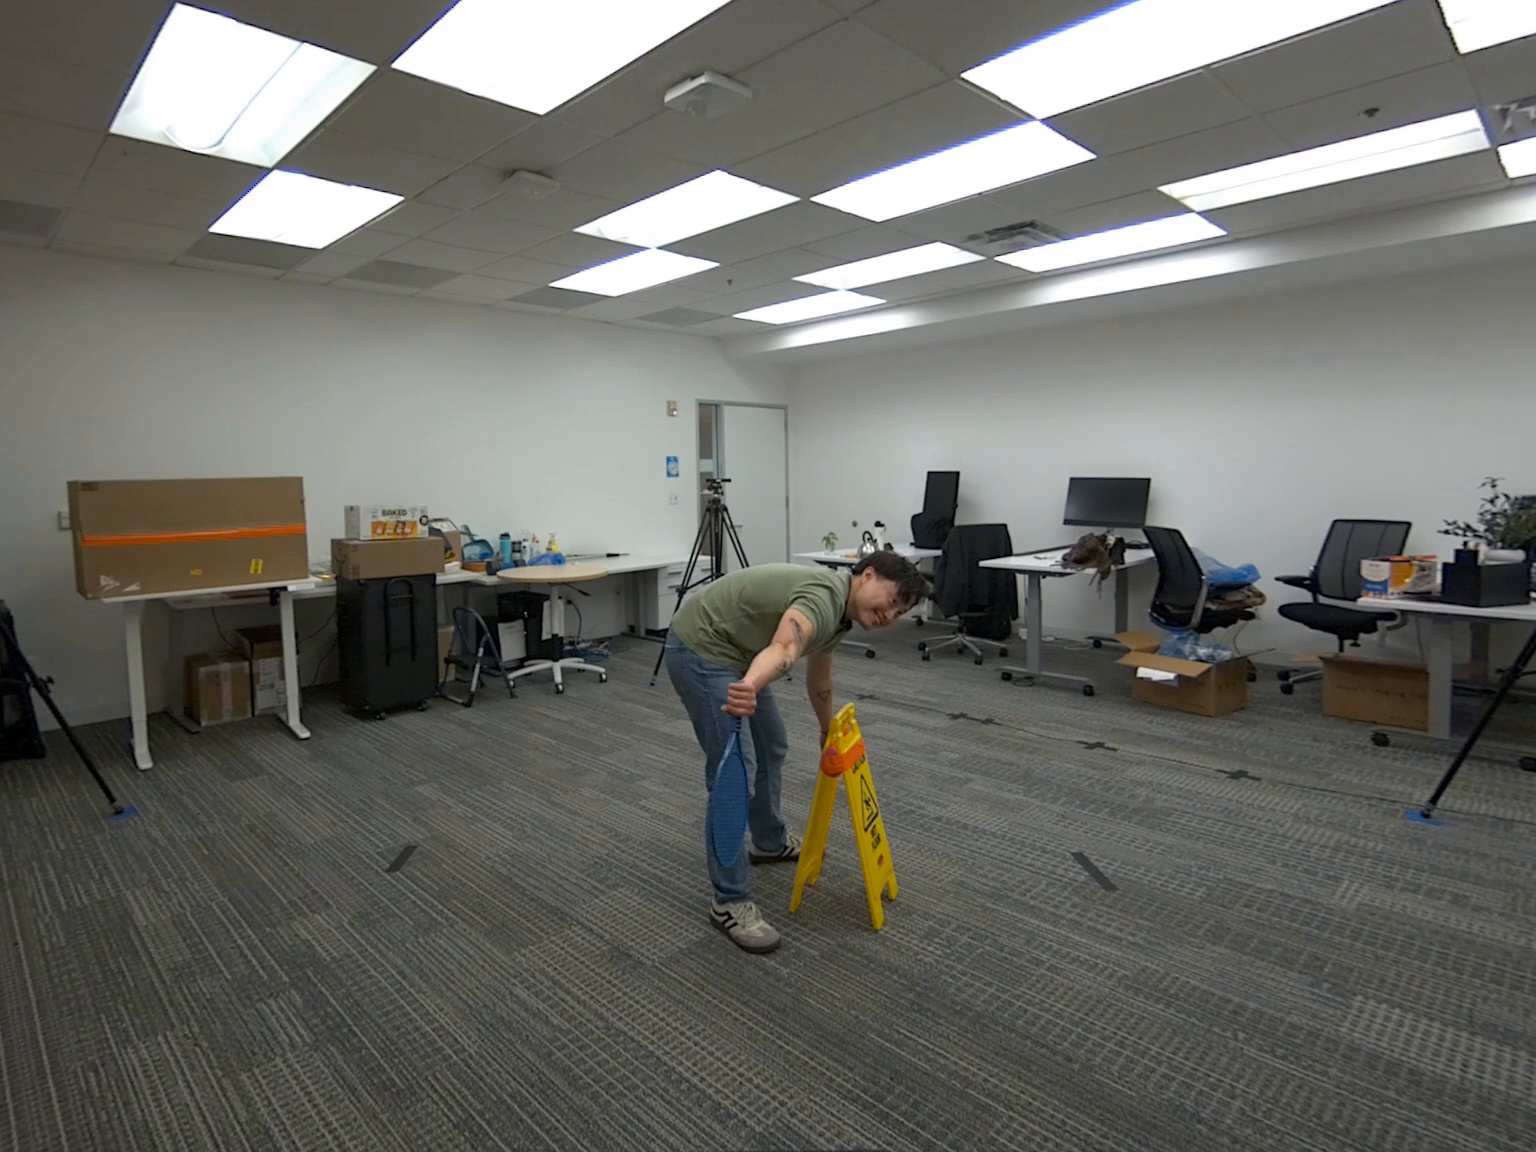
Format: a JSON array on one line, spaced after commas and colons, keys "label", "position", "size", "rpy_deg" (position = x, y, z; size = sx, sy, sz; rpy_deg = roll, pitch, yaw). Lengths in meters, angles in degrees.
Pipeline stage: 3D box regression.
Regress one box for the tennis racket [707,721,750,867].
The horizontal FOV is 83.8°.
[{"label": "tennis racket", "position": [-0.085, 0.485, 2.077], "size": [0.032, 0.440, 0.207], "rpy_deg": [-1, -21, 17]}]
